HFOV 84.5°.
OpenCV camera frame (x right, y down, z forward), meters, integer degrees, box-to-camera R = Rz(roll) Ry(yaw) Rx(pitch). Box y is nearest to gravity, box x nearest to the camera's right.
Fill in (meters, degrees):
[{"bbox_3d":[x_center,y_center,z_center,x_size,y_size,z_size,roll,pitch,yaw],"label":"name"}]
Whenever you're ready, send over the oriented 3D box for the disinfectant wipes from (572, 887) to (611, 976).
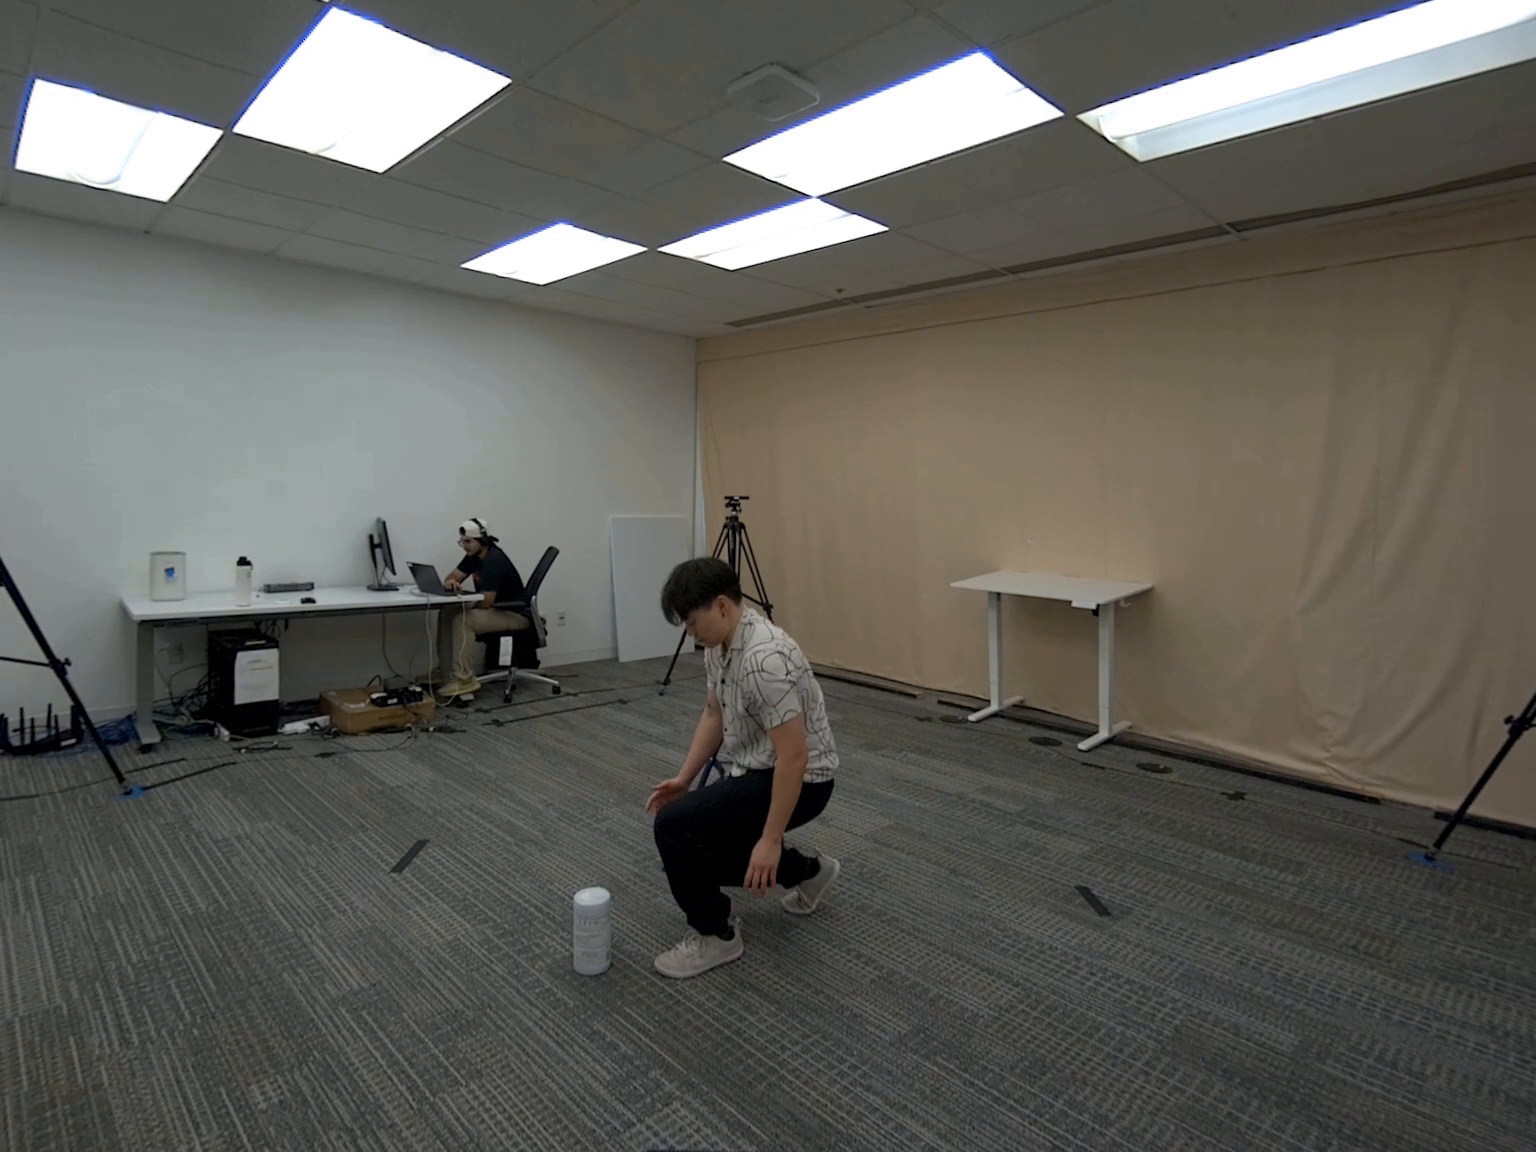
[{"bbox_3d":[-0.518,1.038,2.476,0.118,0.217,0.118,1,3,-1],"label":"disinfectant wipes"}]
